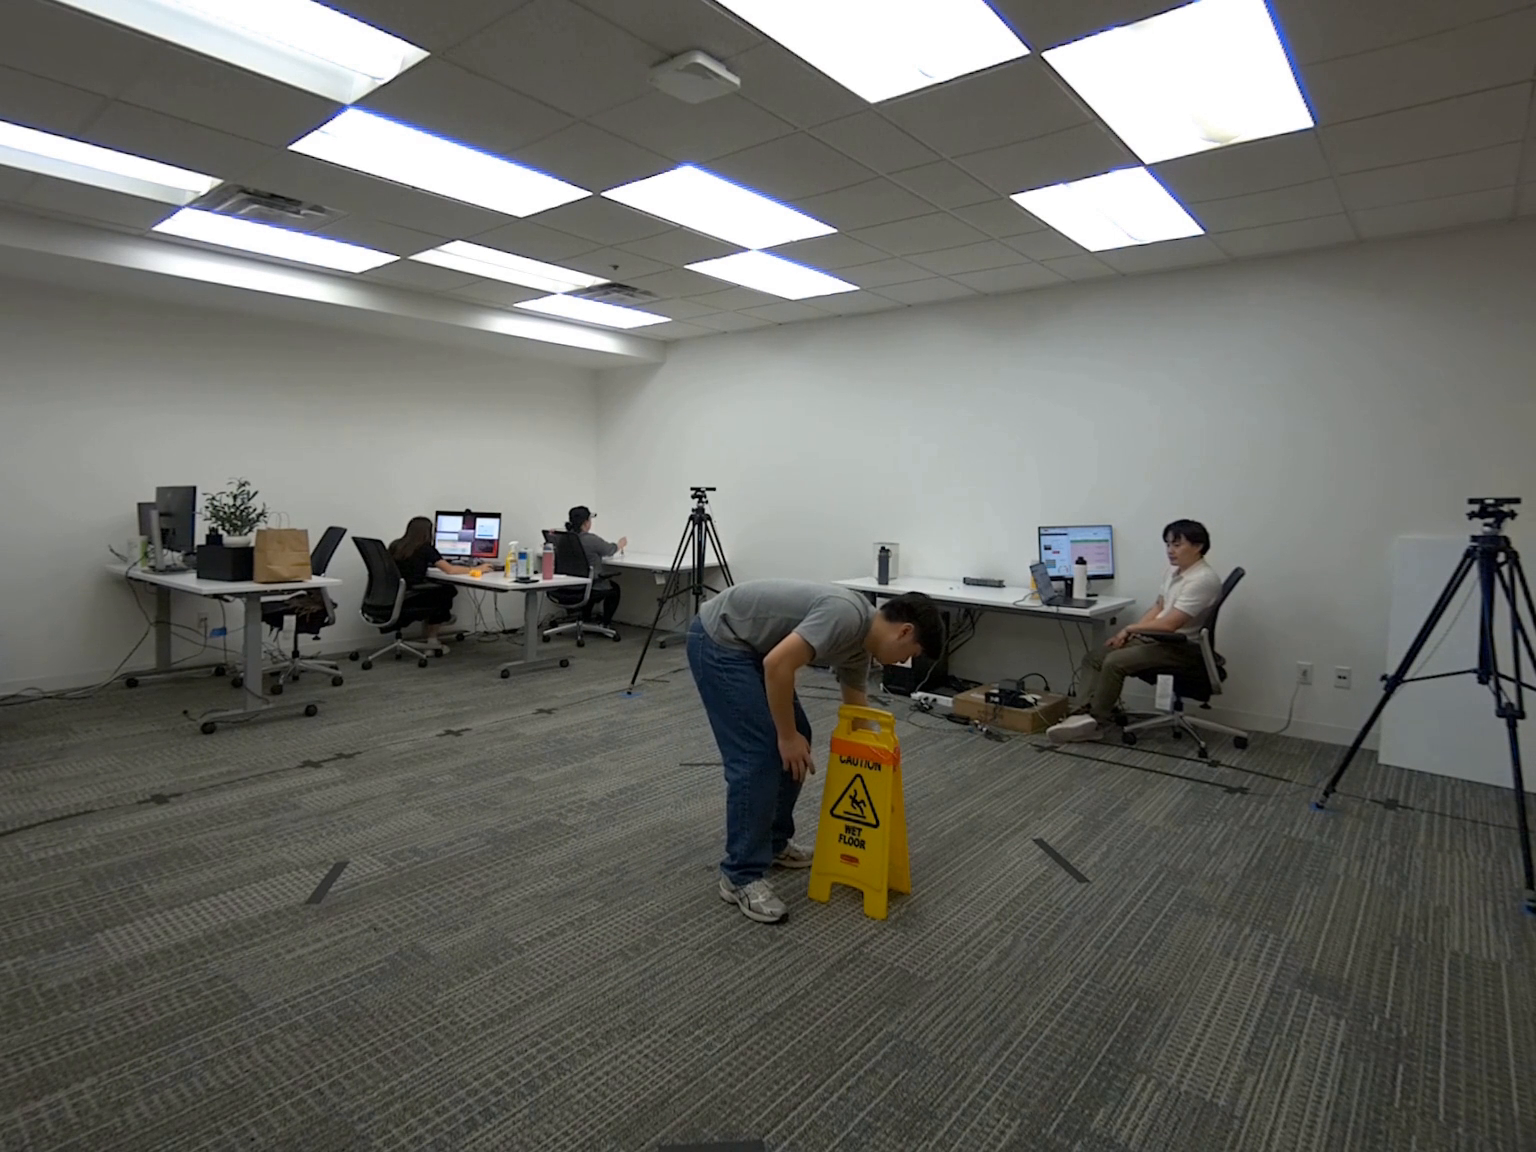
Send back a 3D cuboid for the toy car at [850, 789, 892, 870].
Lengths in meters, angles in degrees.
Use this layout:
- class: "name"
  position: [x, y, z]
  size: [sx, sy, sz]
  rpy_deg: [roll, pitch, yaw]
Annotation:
- class: "toy car"
  position: [0.376, 0.921, 3.067]
  size: [0.133, 0.251, 0.083]
  rpy_deg: [2, 16, 19]
